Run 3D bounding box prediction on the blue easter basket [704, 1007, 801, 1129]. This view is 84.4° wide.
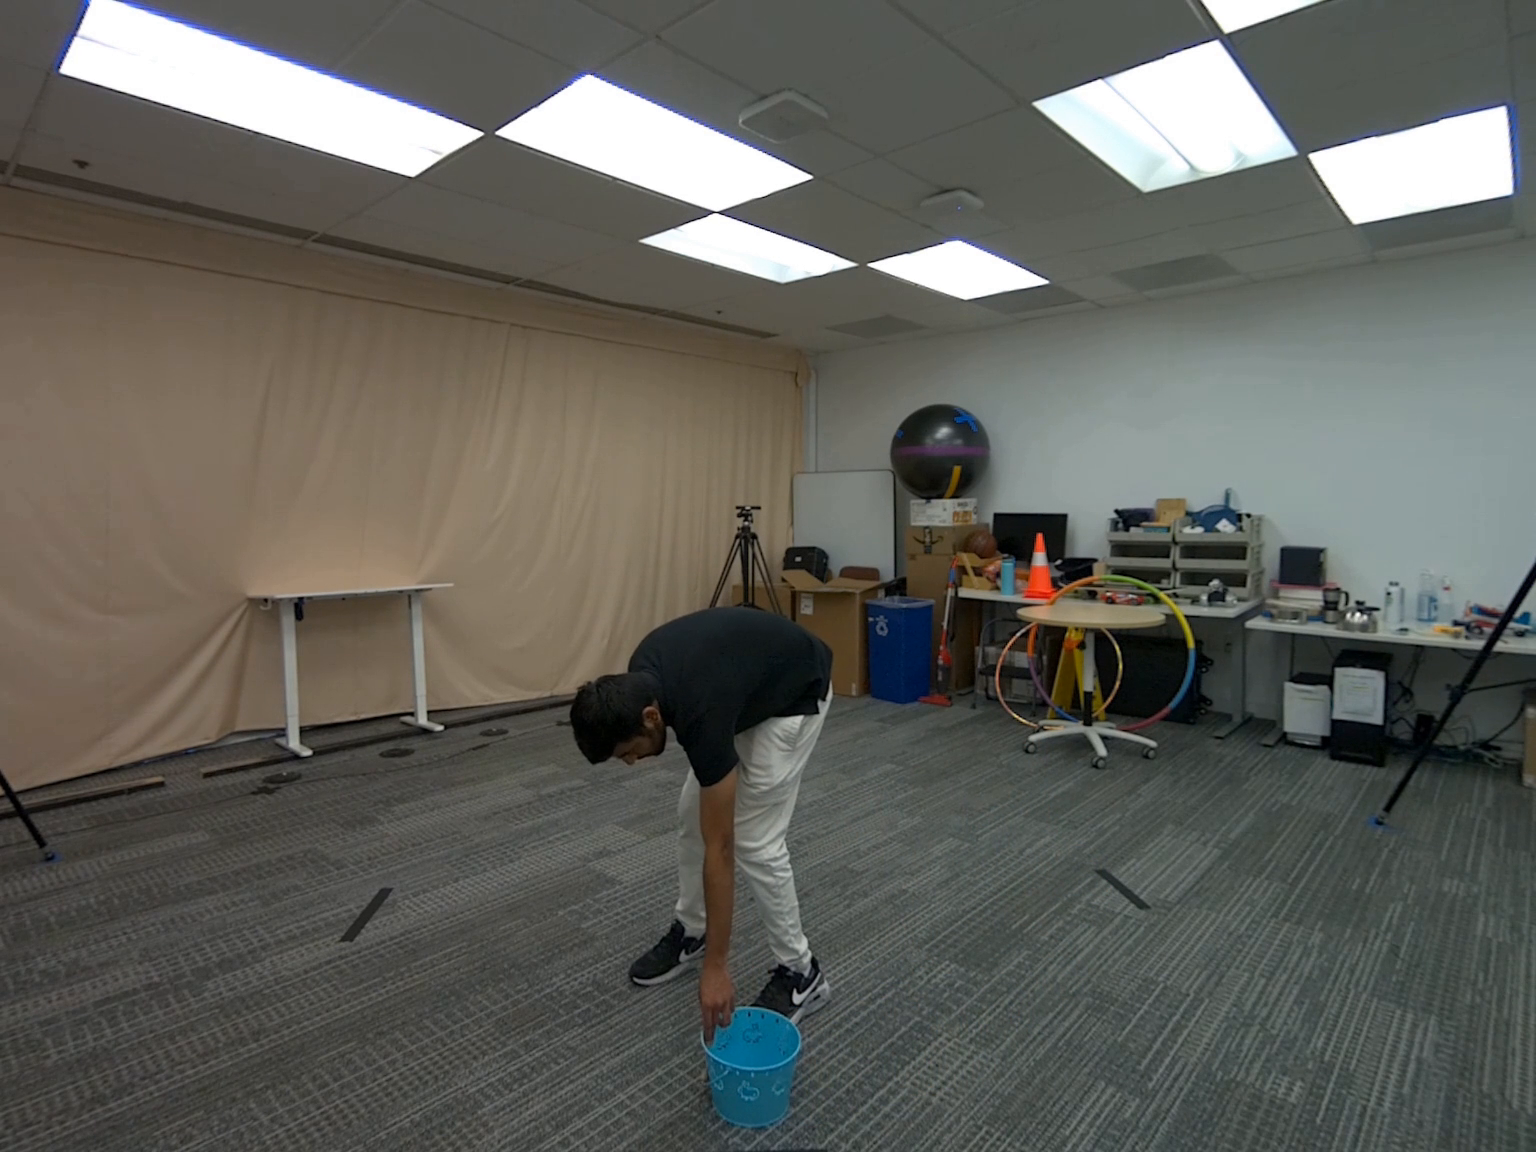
[{"bbox_3d":[-0.036,1.147,1.984,0.243,0.155,0.244,-1,4,-2],"label":"blue easter basket"}]
